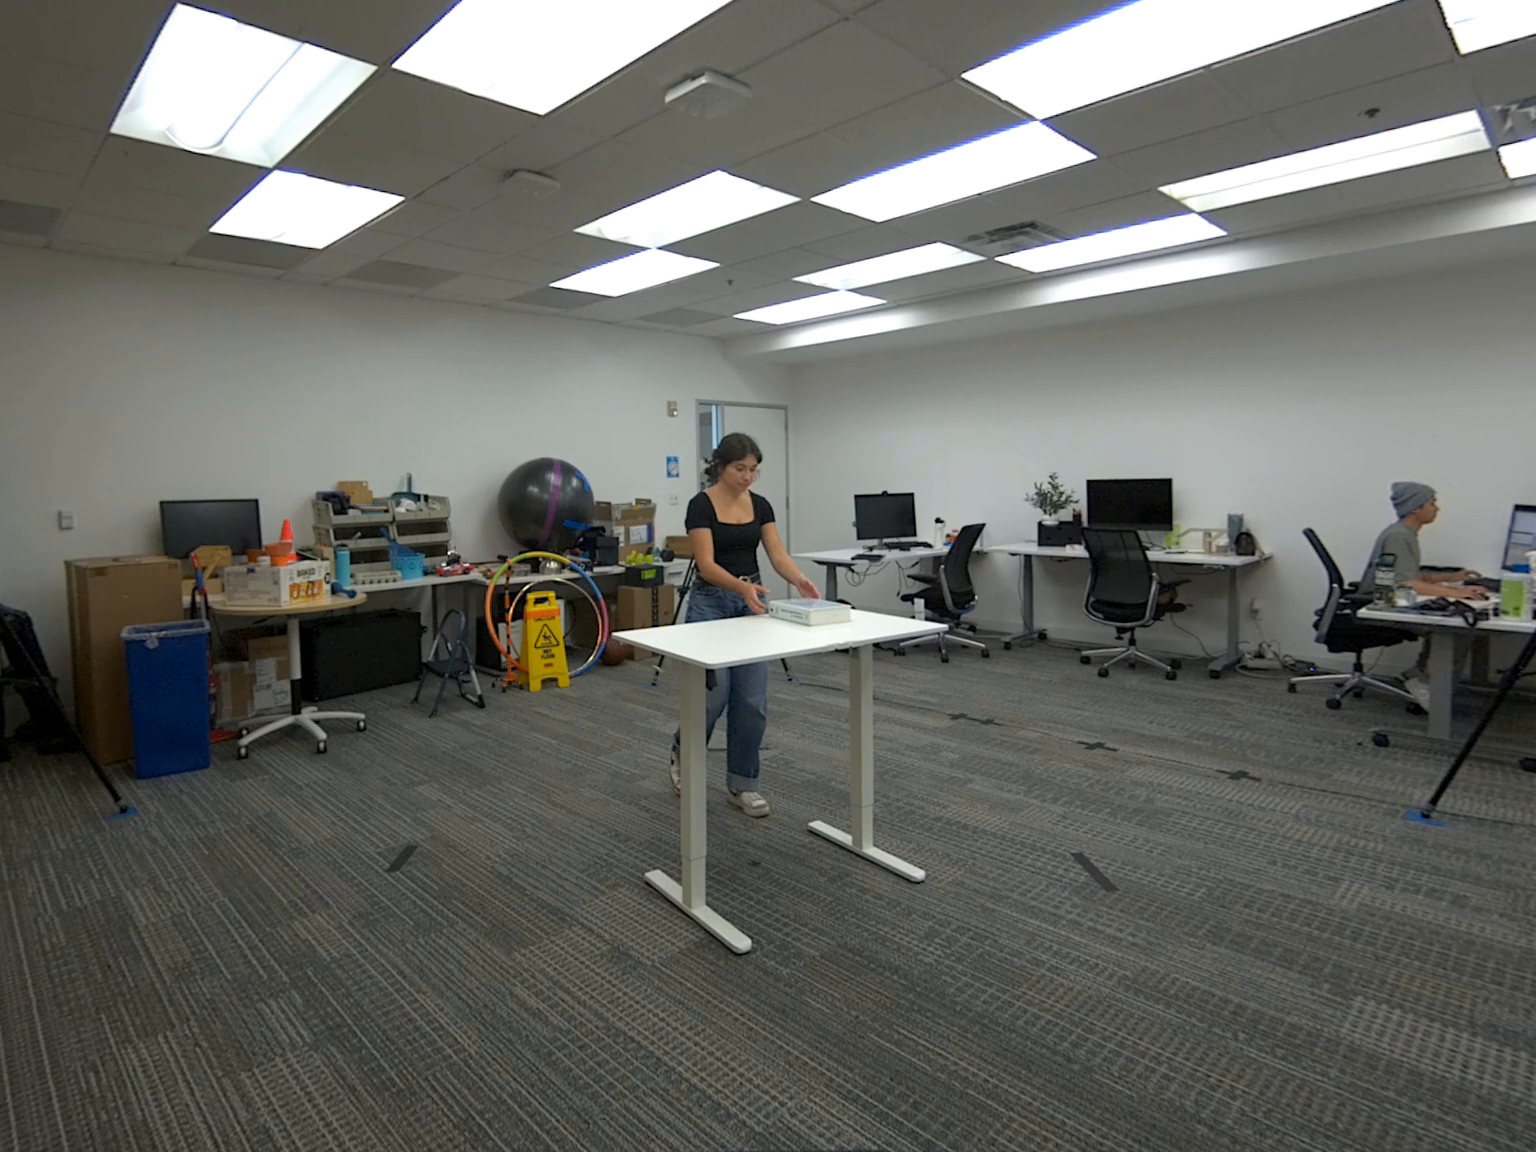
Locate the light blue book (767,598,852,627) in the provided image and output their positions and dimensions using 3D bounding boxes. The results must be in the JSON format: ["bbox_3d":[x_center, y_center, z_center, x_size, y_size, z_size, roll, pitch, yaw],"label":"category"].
[{"bbox_3d":[0.159,0.132,3.123,0.187,0.059,0.268,-3,6,-31],"label":"light blue book"}]
